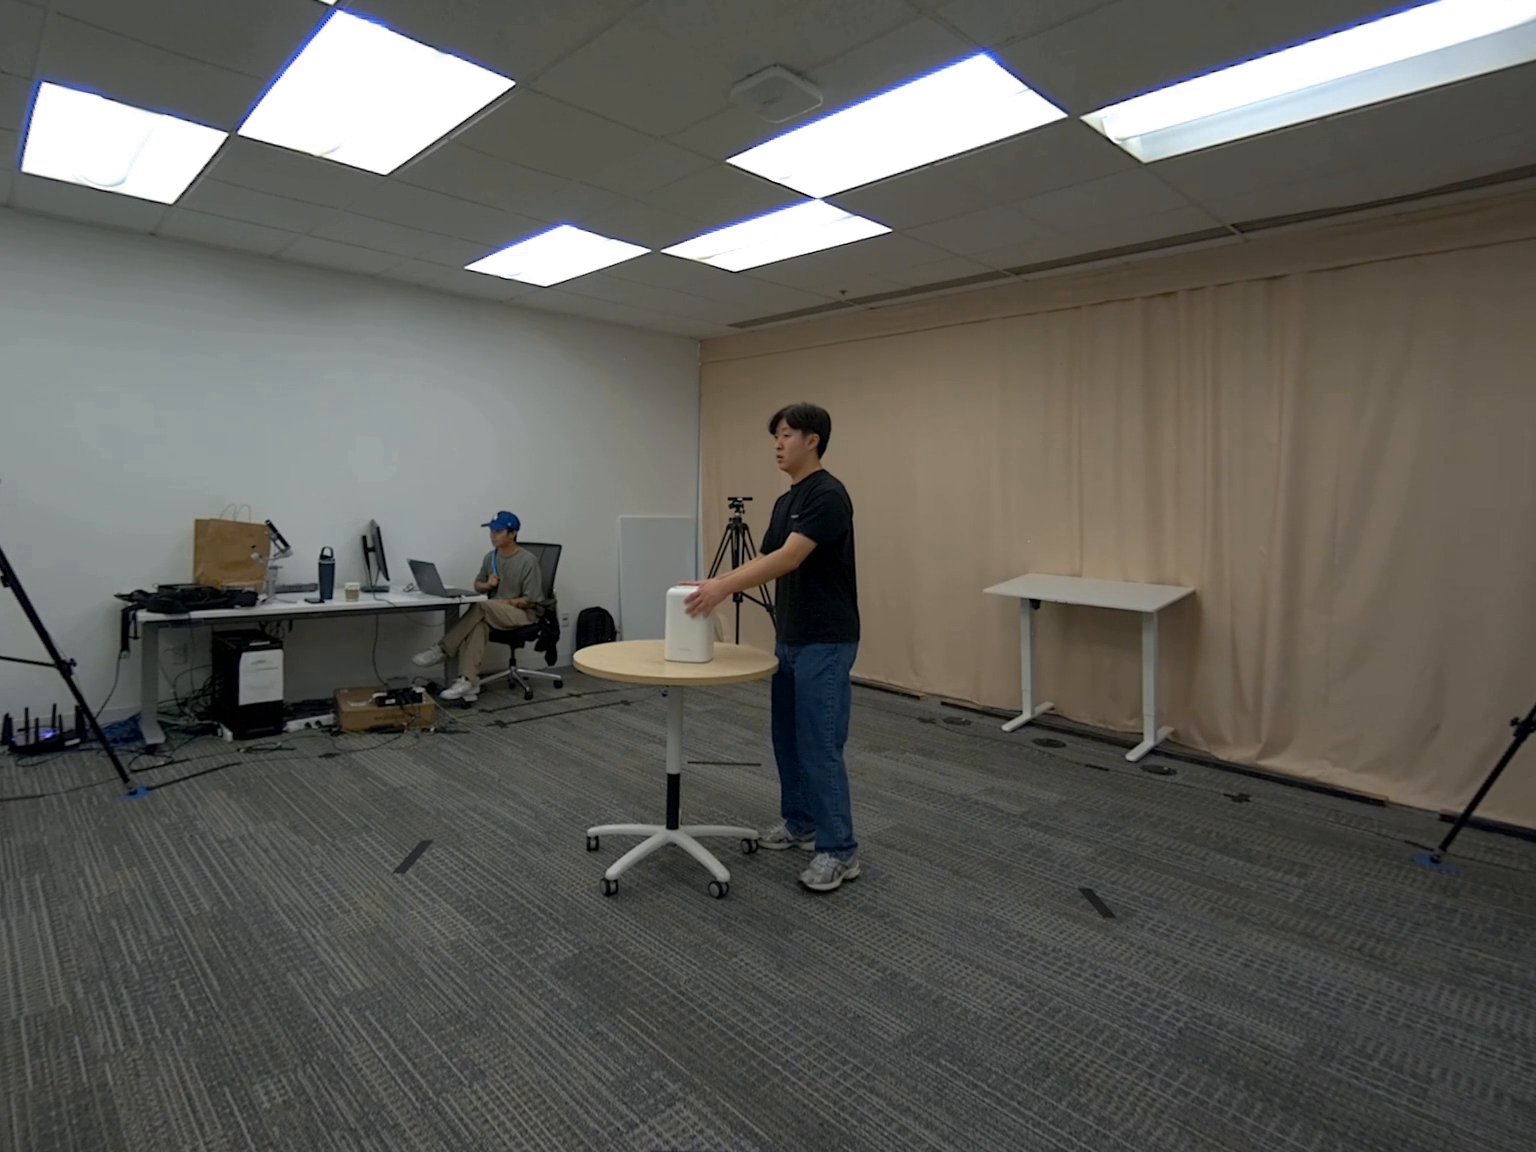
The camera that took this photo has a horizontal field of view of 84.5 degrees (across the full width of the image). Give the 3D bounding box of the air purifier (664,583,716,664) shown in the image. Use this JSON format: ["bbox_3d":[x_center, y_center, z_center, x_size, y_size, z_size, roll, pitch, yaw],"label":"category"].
[{"bbox_3d":[-0.291,0.176,3.113,0.172,0.265,0.171,3,4,9],"label":"air purifier"}]
